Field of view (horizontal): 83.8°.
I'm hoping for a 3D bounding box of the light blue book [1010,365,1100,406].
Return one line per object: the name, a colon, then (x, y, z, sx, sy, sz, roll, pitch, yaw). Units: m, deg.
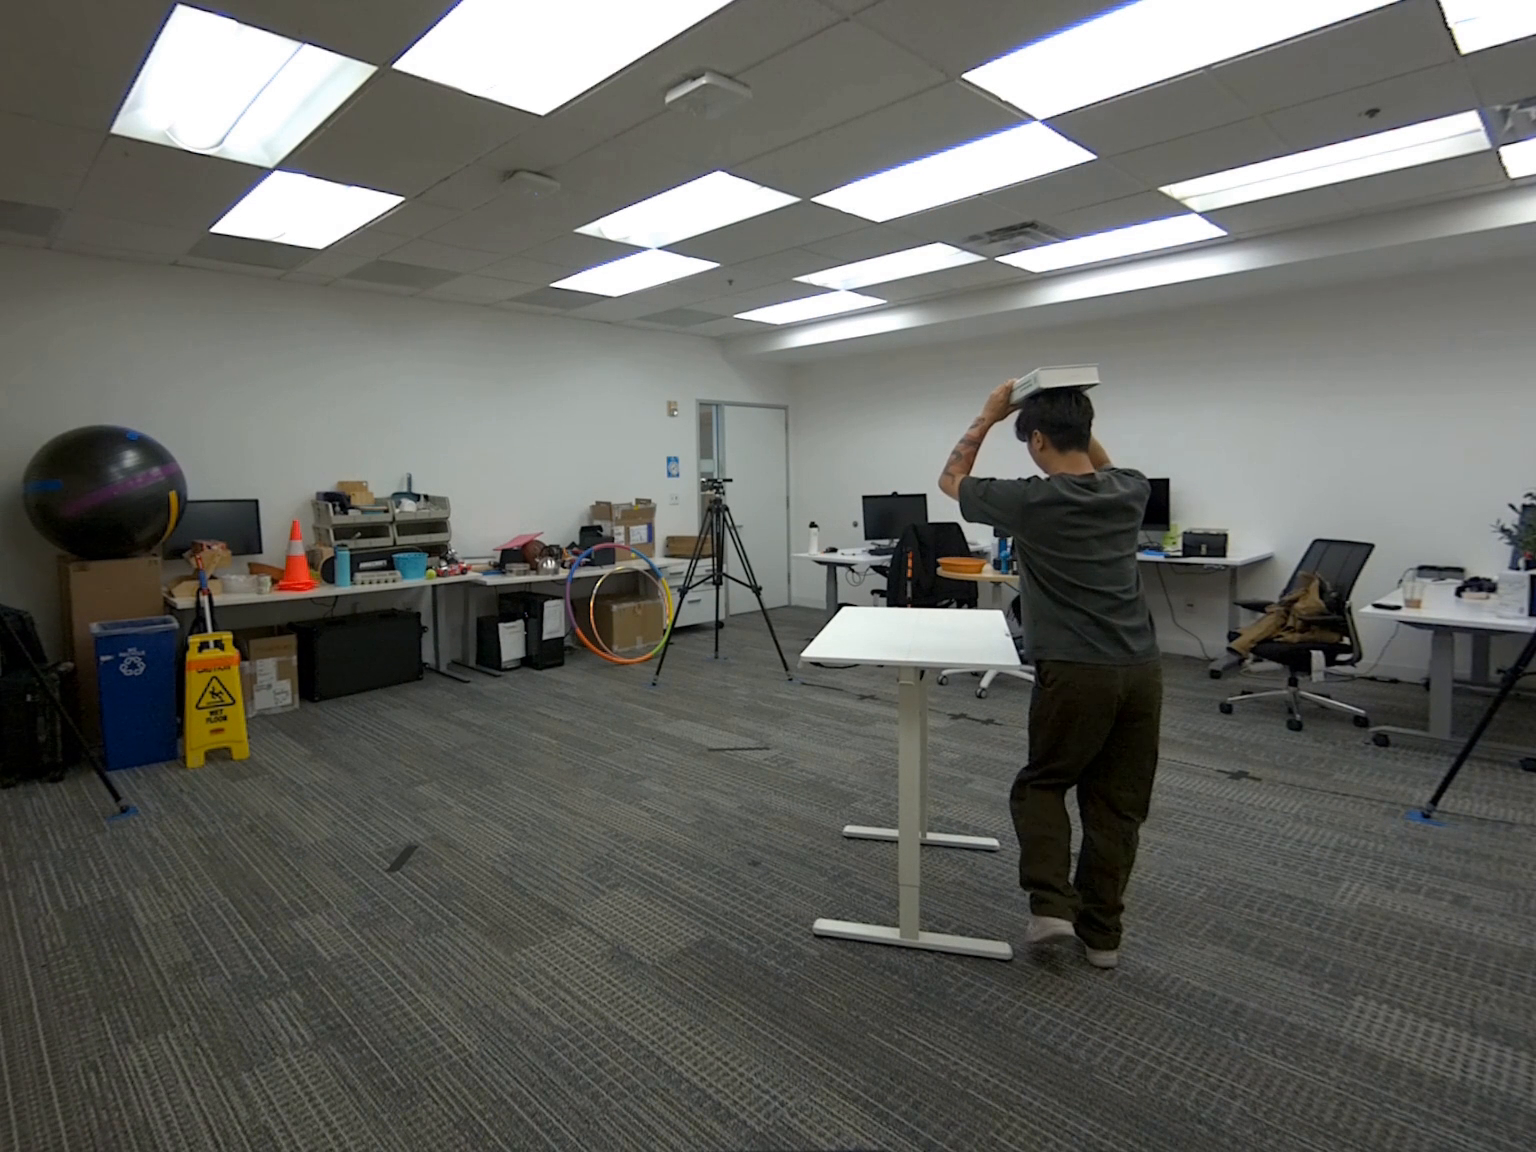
light blue book: (0.839, -0.562, 2.550, 0.190, 0.059, 0.262, -5, -1, -8)
